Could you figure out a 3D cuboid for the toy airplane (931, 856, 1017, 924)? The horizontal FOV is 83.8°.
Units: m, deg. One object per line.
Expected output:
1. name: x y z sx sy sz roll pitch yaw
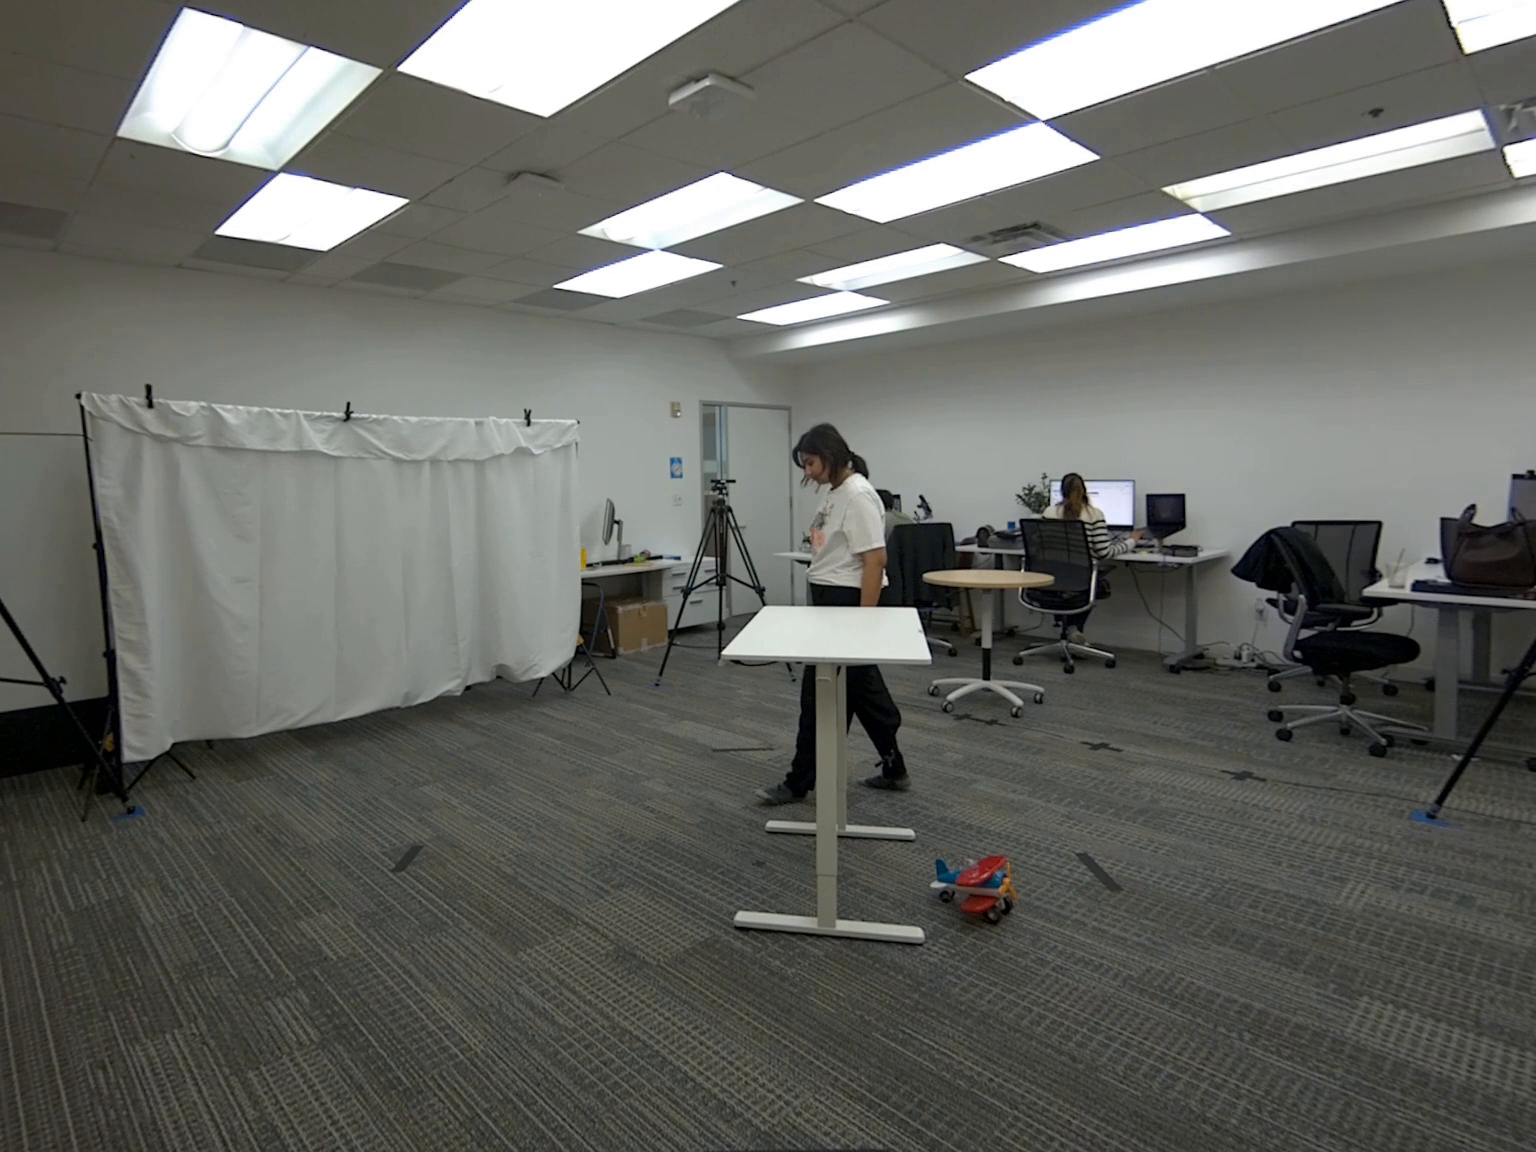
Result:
1. toy airplane: 0.661 1.008 2.738 0.263 0.156 0.249 2 6 13
